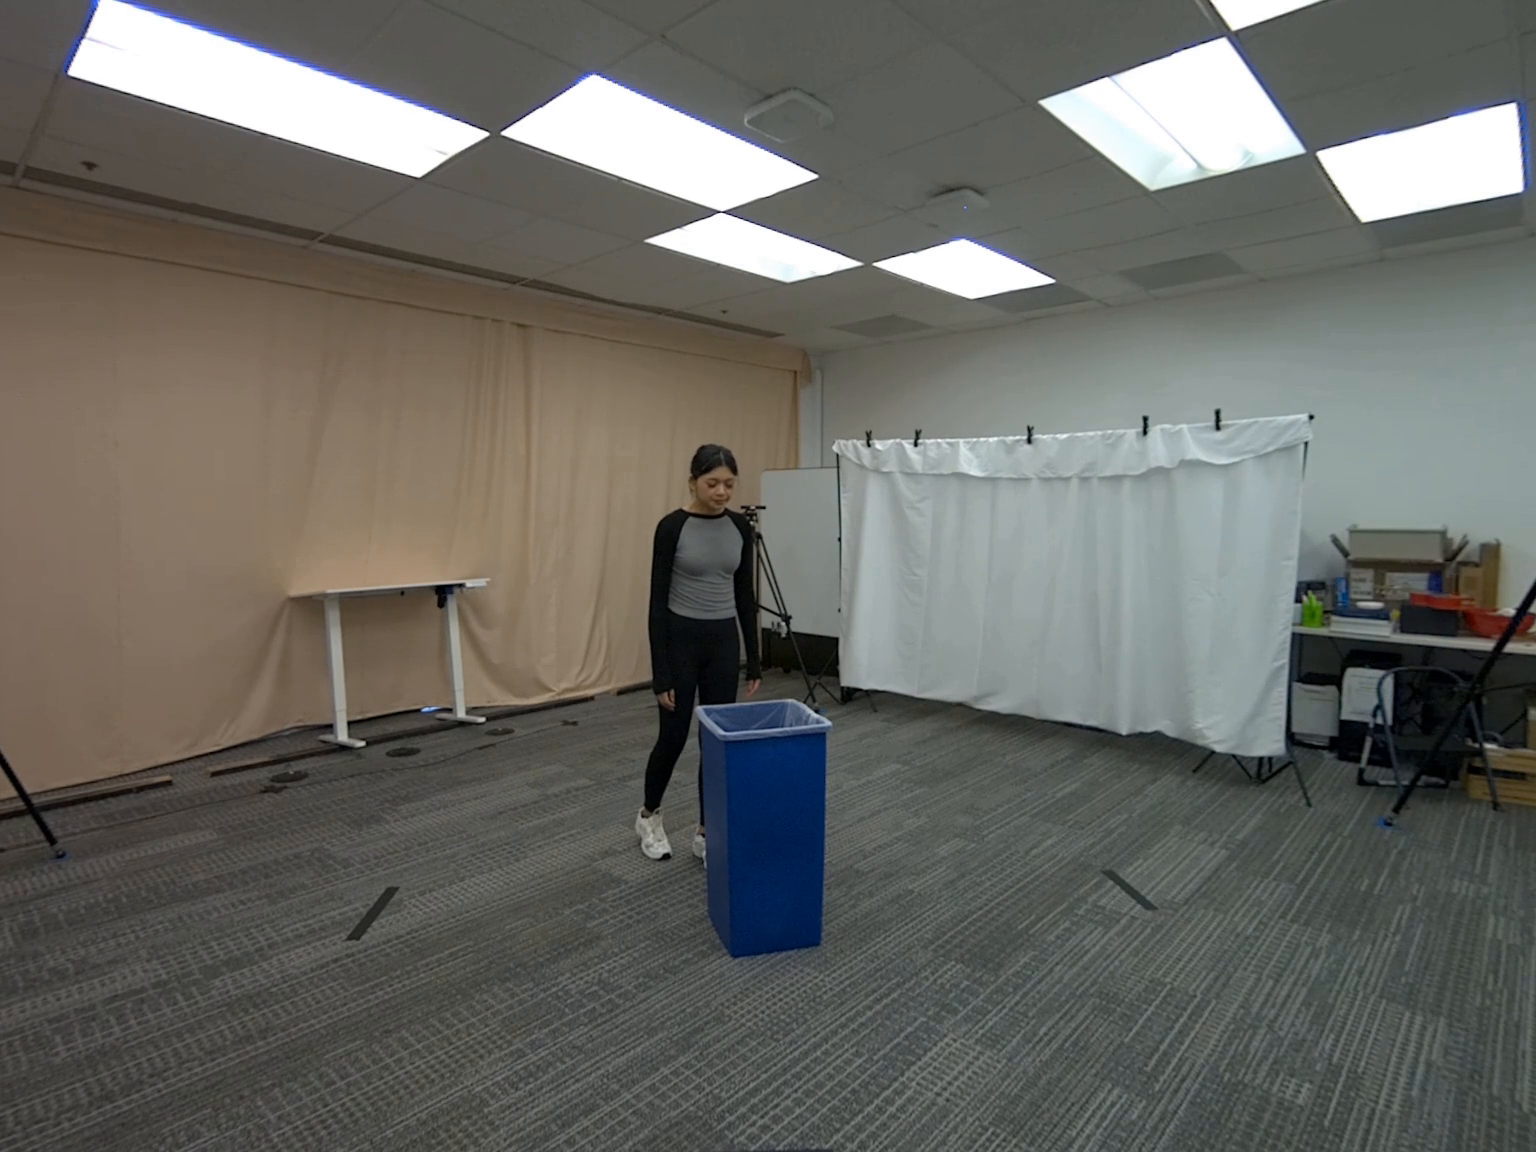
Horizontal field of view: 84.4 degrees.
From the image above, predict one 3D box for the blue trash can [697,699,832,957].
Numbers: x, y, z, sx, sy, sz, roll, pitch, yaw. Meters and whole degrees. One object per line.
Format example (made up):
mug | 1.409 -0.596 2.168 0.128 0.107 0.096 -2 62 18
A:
blue trash can | -0.018 0.806 2.748 0.368 0.712 0.385 -1 3 -17
